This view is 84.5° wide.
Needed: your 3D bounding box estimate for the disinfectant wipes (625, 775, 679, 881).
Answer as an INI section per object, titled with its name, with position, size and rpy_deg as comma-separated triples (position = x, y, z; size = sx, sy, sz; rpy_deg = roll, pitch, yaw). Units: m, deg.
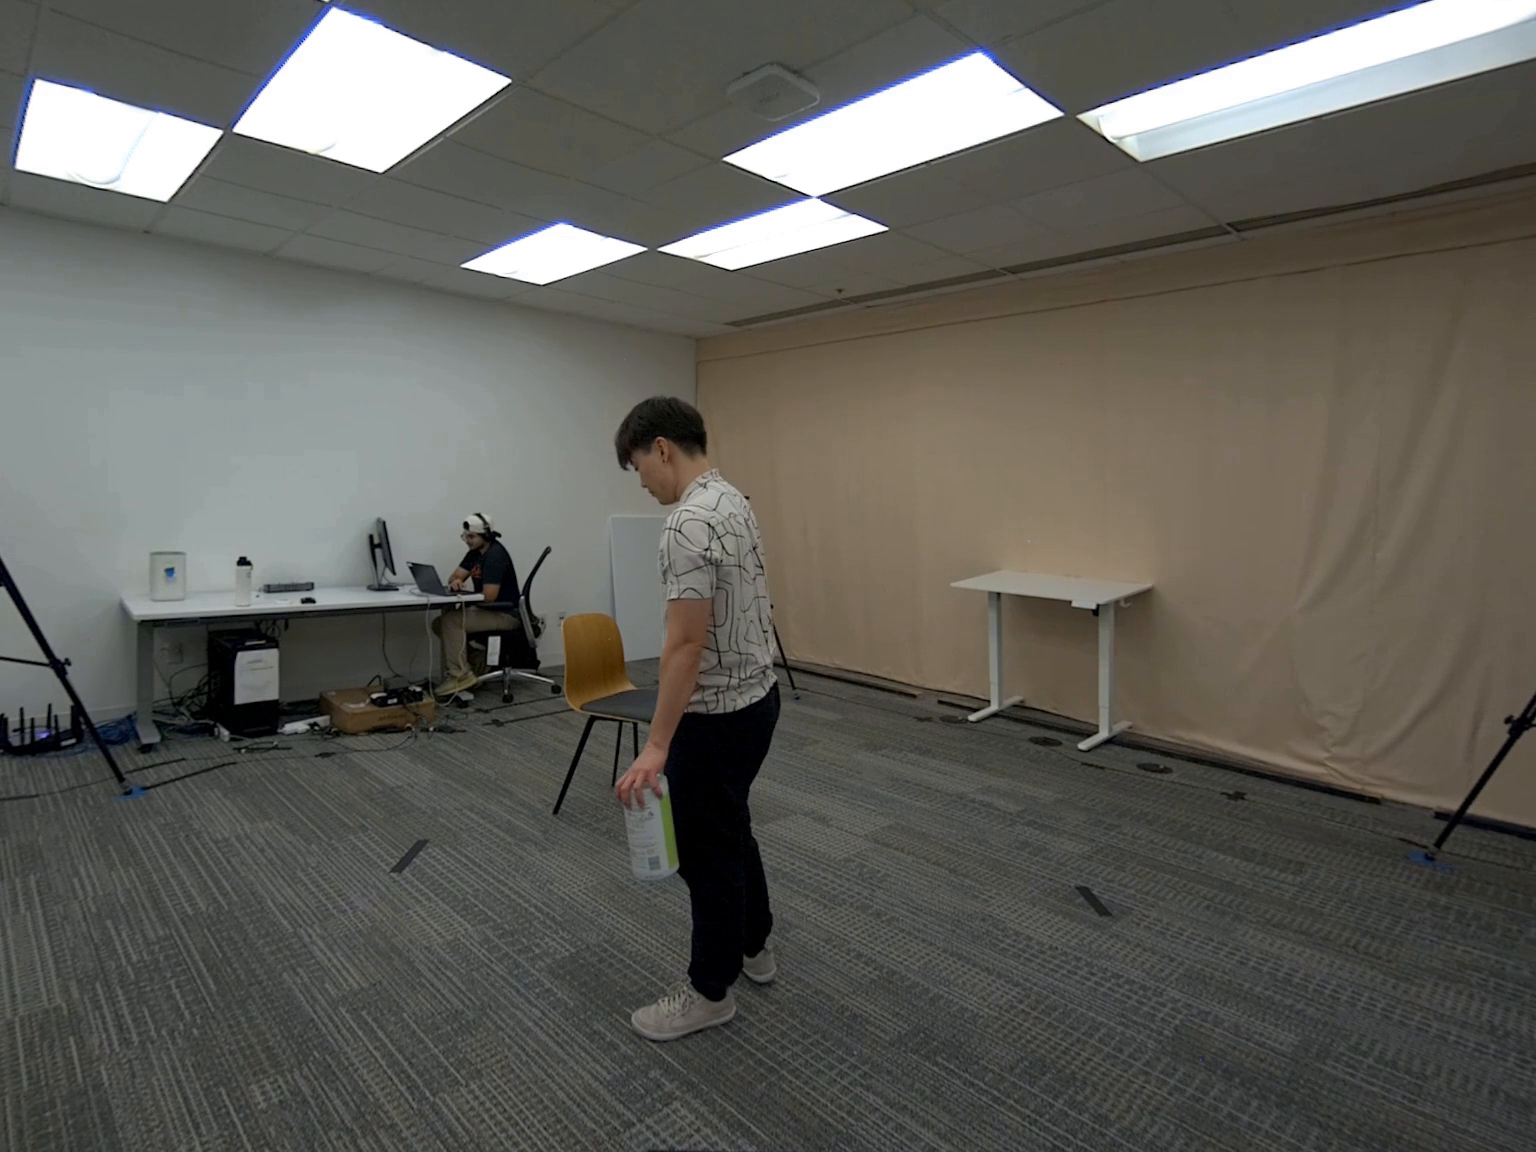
[disinfectant wipes]
position = -0.286, 0.580, 1.933
size = 0.118, 0.216, 0.118
rpy_deg = -5, 5, -1
